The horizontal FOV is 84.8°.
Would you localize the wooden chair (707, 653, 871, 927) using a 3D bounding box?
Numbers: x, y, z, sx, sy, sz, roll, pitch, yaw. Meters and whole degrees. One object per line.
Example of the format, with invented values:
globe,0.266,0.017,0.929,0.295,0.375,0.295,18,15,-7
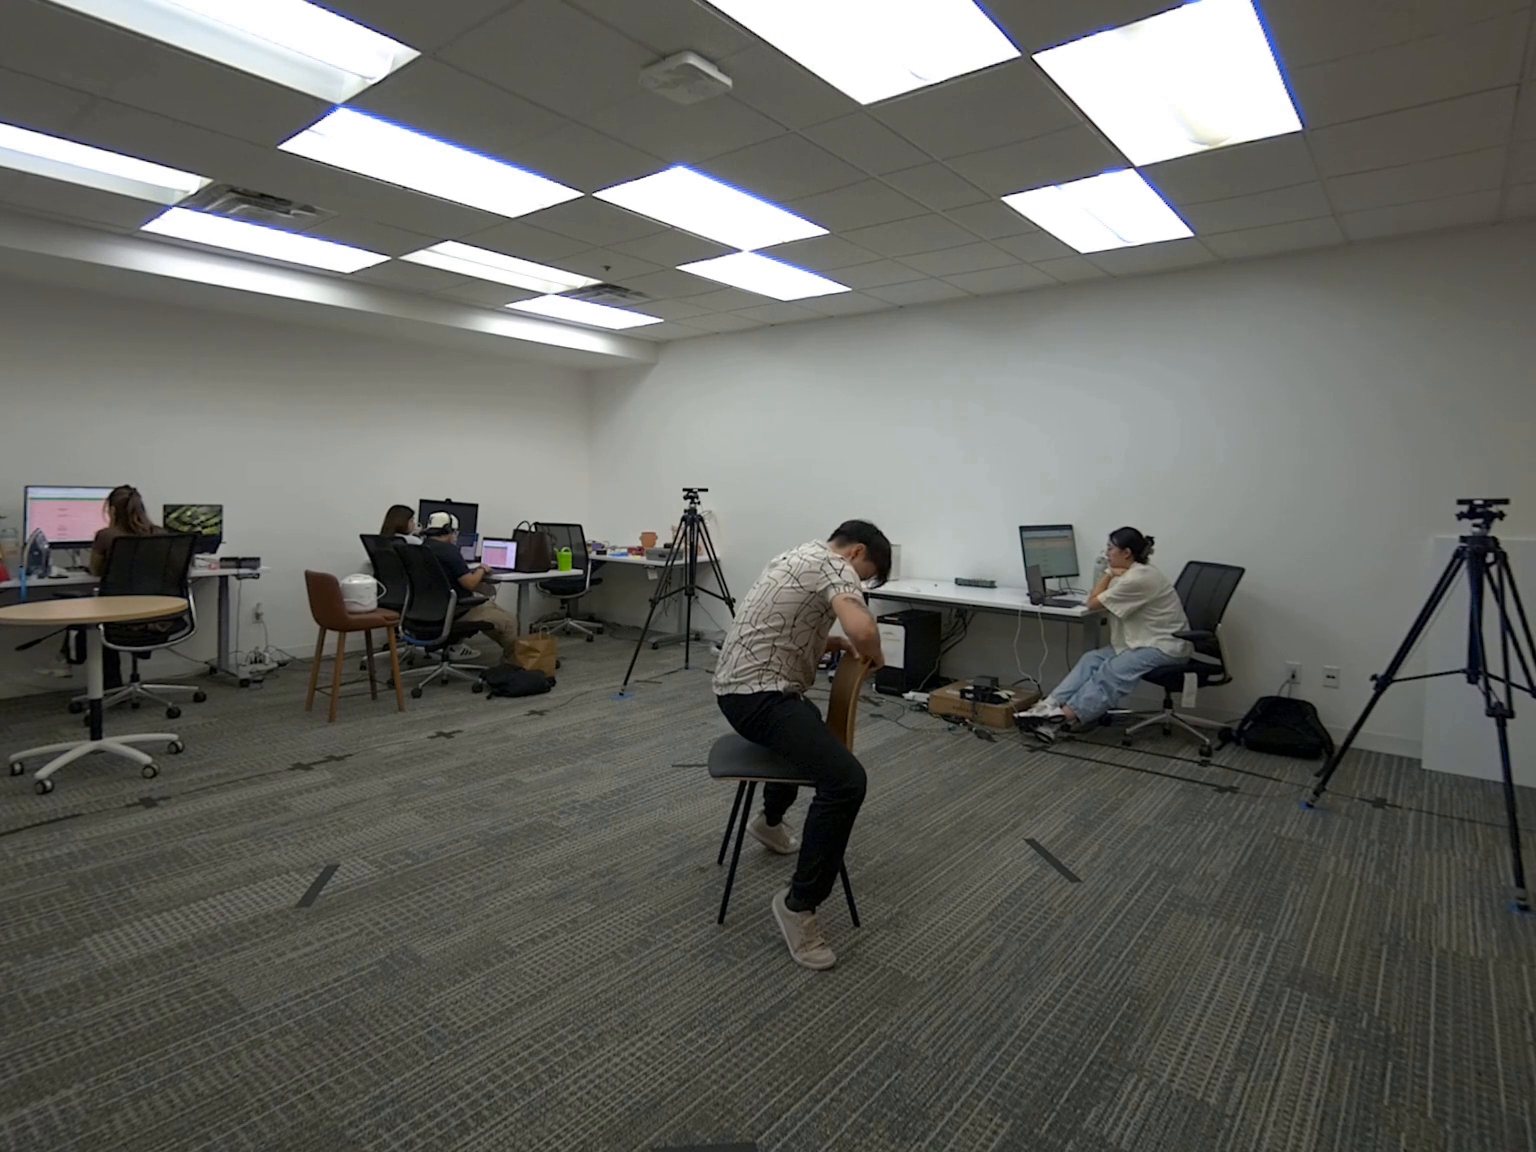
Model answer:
wooden chair,0.047,0.668,2.910,0.522,0.875,0.480,5,3,-3
